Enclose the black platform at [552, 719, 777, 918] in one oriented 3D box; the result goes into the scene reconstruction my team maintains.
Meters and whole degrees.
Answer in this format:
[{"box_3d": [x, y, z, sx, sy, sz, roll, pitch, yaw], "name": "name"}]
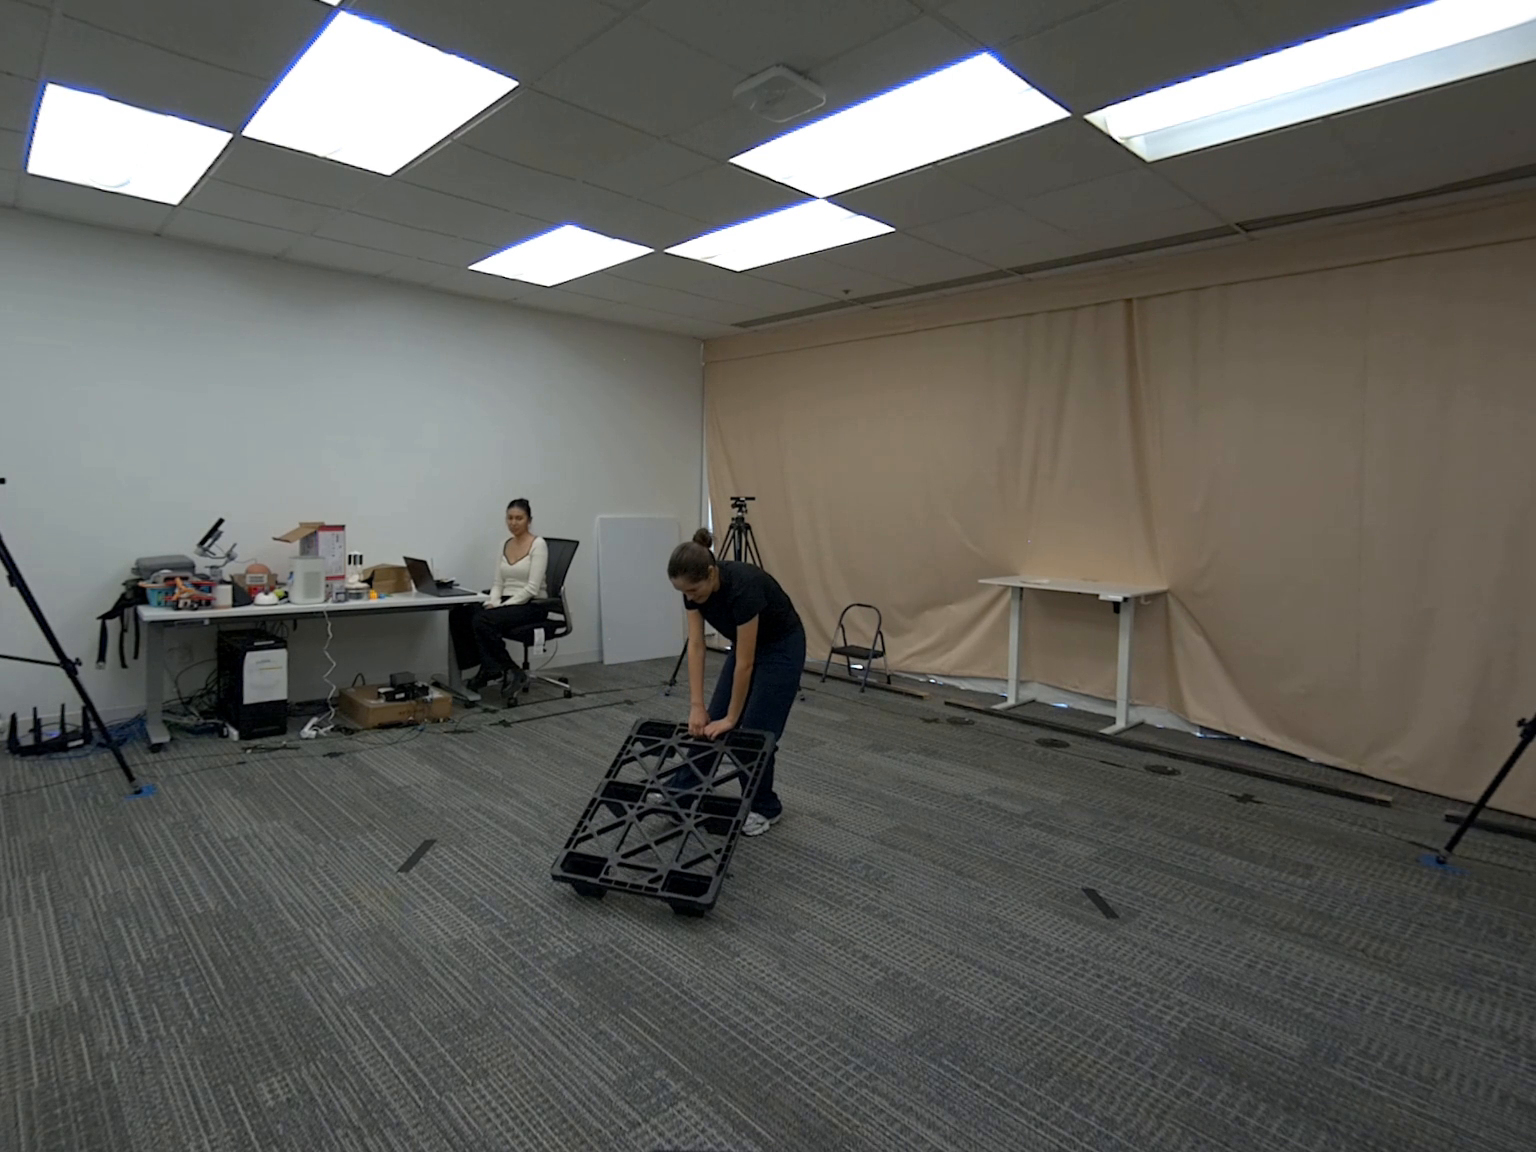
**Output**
[{"box_3d": [-0.355, 0.872, 3.114, 0.613, 0.140, 0.812, 3, 33, 16], "name": "black platform"}]
